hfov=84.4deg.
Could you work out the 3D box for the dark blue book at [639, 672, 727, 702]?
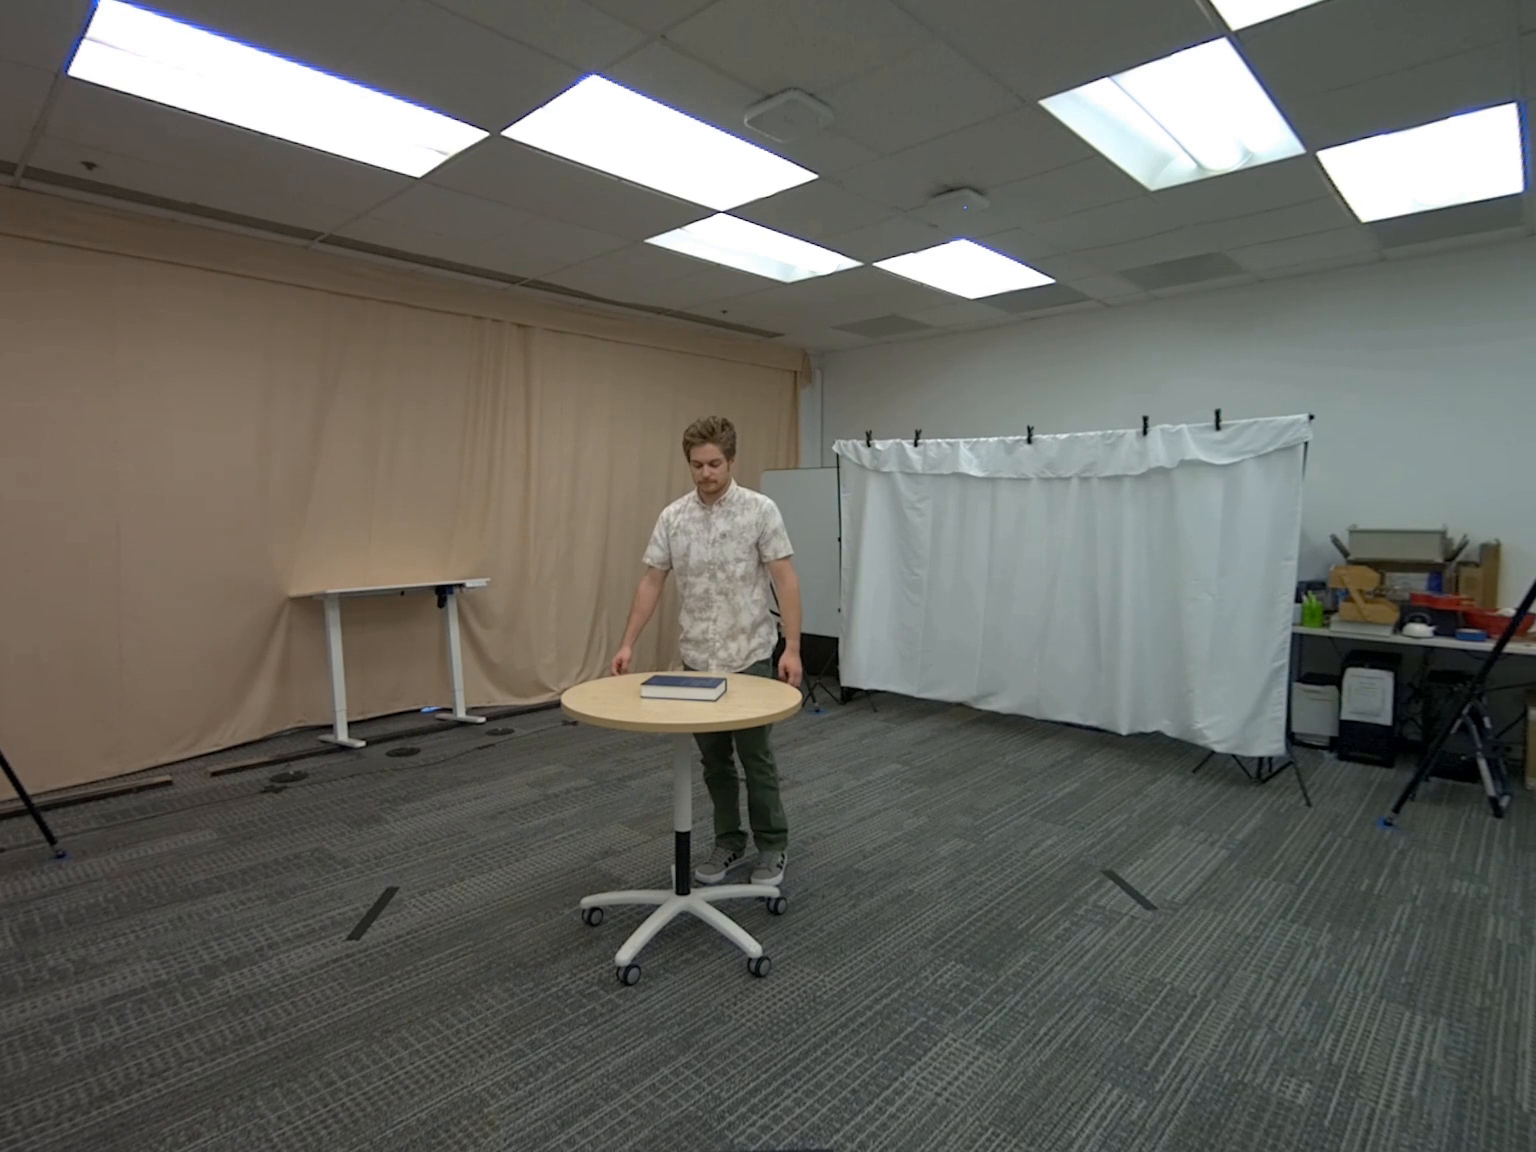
[{"bbox_3d":[-0.271,0.354,2.690,0.248,0.045,0.162,1,5,11],"label":"dark blue book"}]
